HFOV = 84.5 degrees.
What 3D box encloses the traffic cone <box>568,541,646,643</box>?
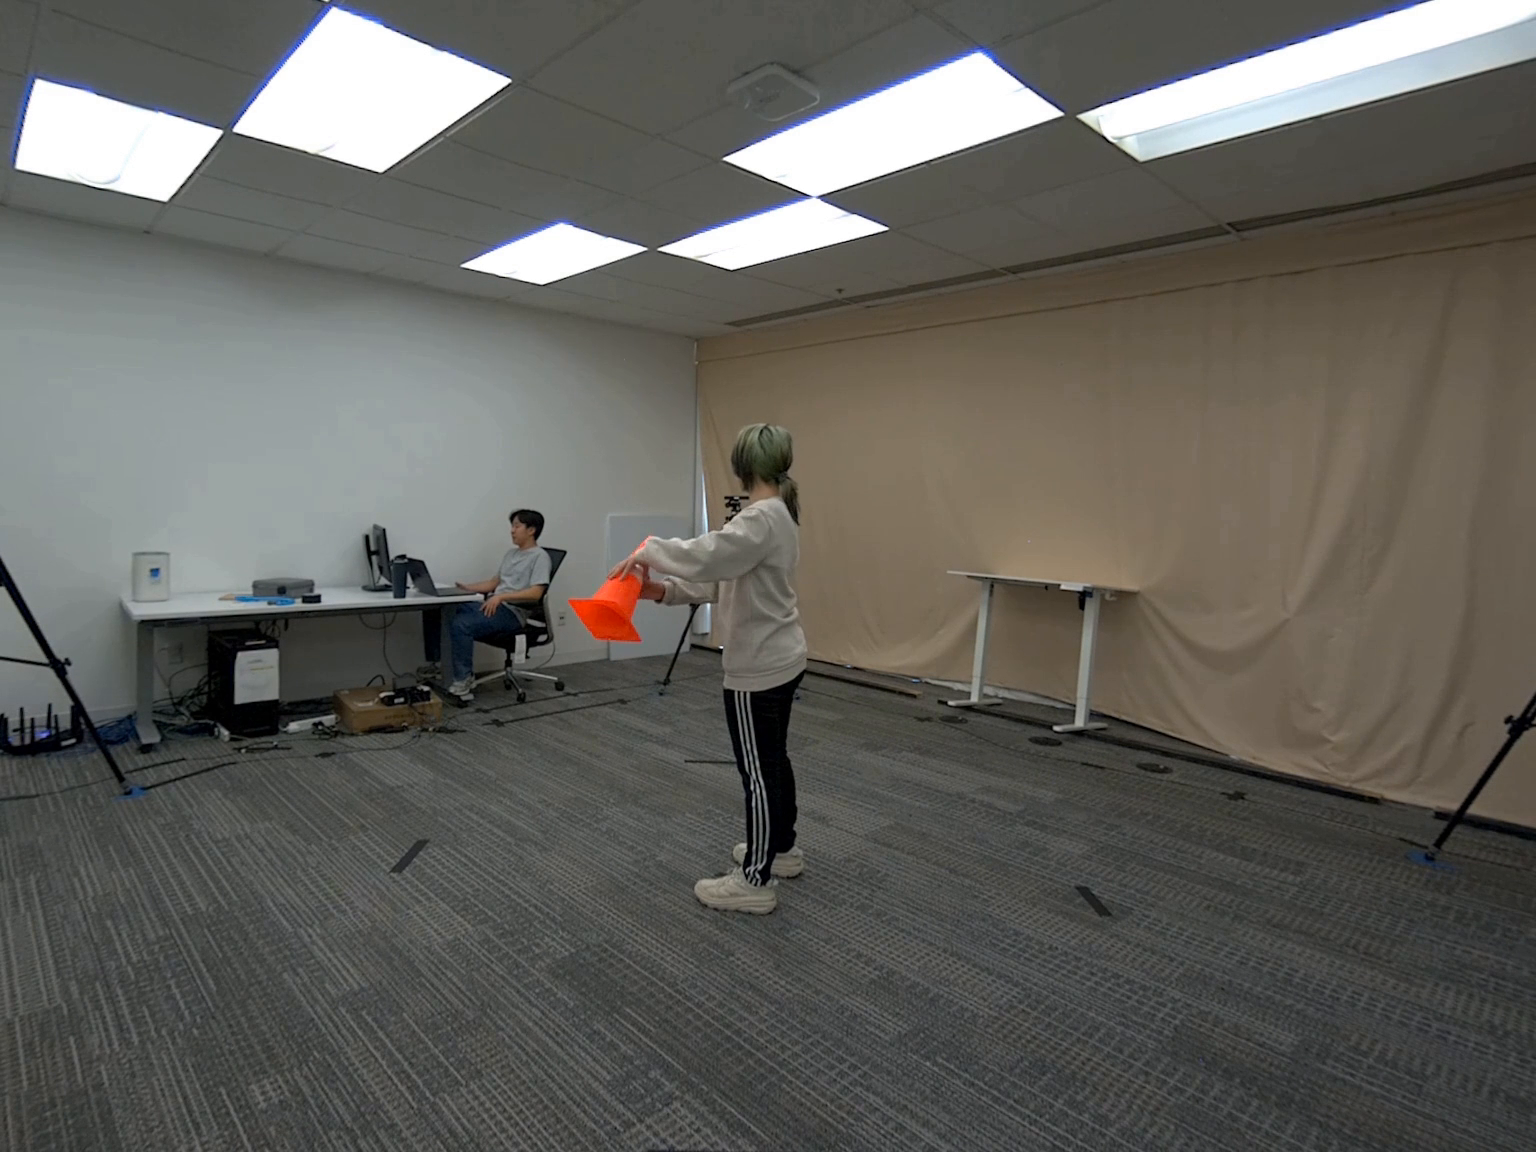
[{"bbox_3d":[-0.447,0.007,2.785,0.207,0.199,0.387,-6,42,32],"label":"traffic cone"}]
